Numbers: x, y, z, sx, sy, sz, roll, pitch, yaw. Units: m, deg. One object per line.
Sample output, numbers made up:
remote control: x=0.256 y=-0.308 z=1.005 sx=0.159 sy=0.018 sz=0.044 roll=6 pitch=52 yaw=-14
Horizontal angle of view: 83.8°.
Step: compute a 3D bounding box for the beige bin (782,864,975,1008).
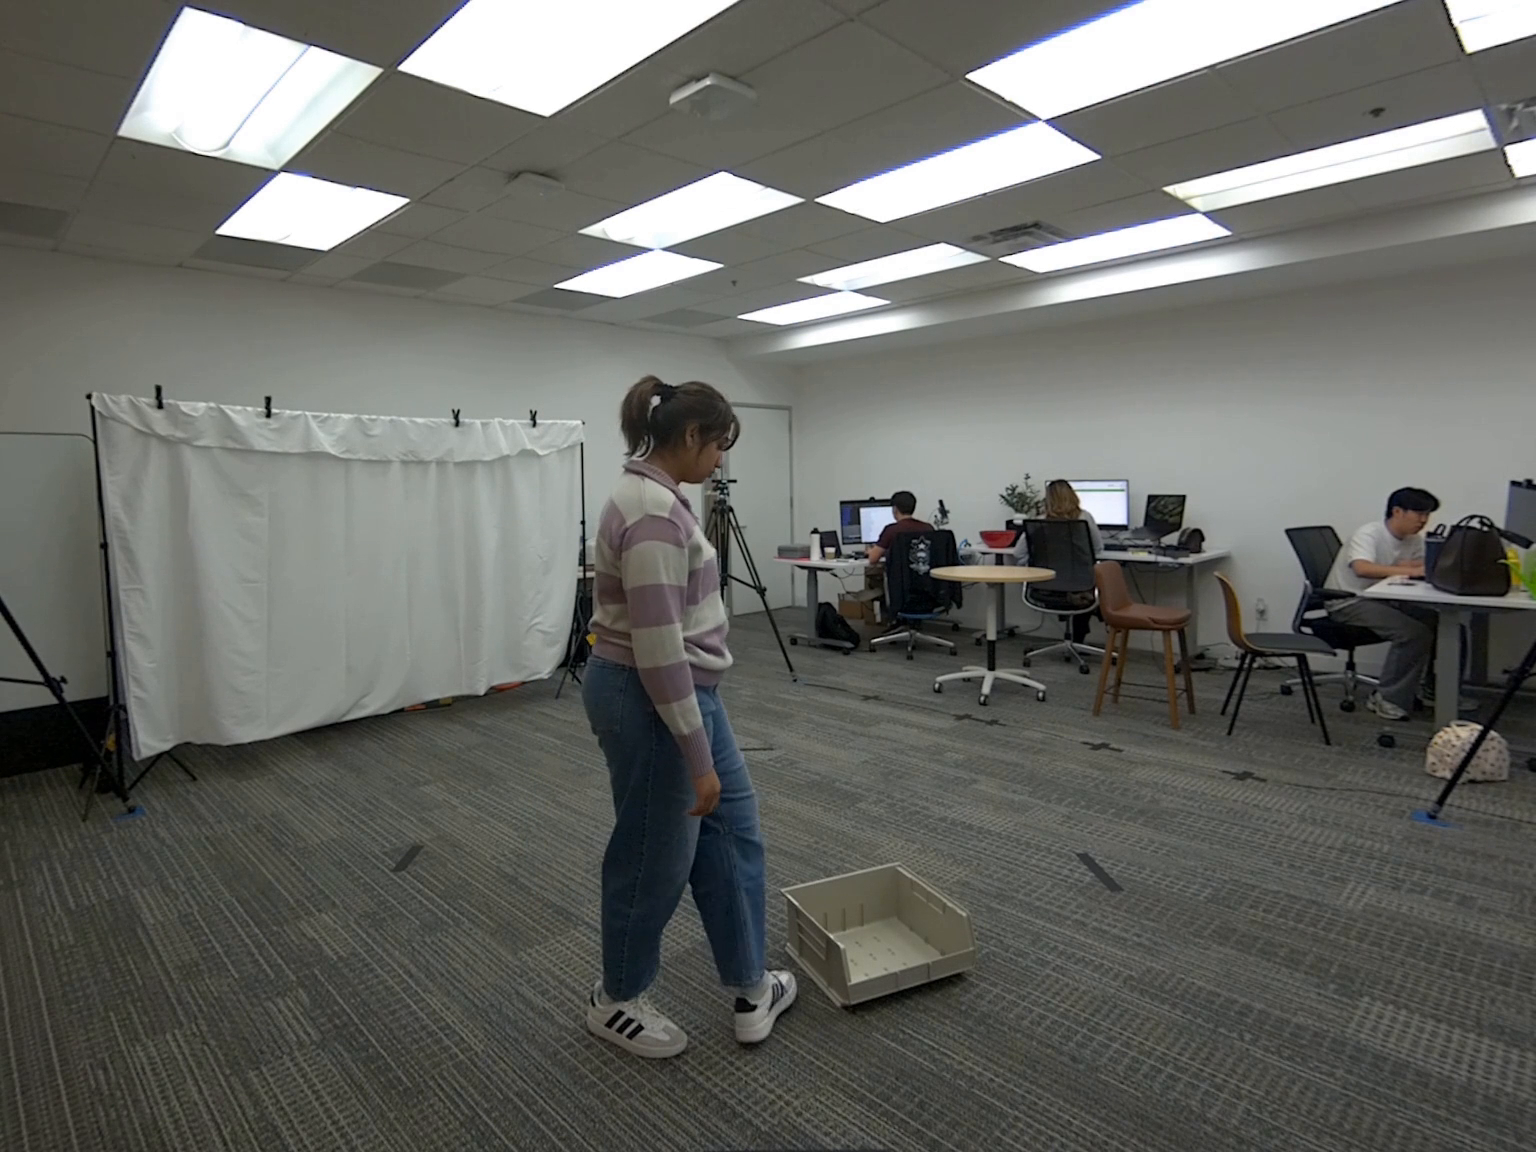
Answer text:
beige bin: x=0.316 y=1.029 z=2.451 sx=0.414 sy=0.188 sz=0.386 roll=-4 pitch=6 yaw=-25
